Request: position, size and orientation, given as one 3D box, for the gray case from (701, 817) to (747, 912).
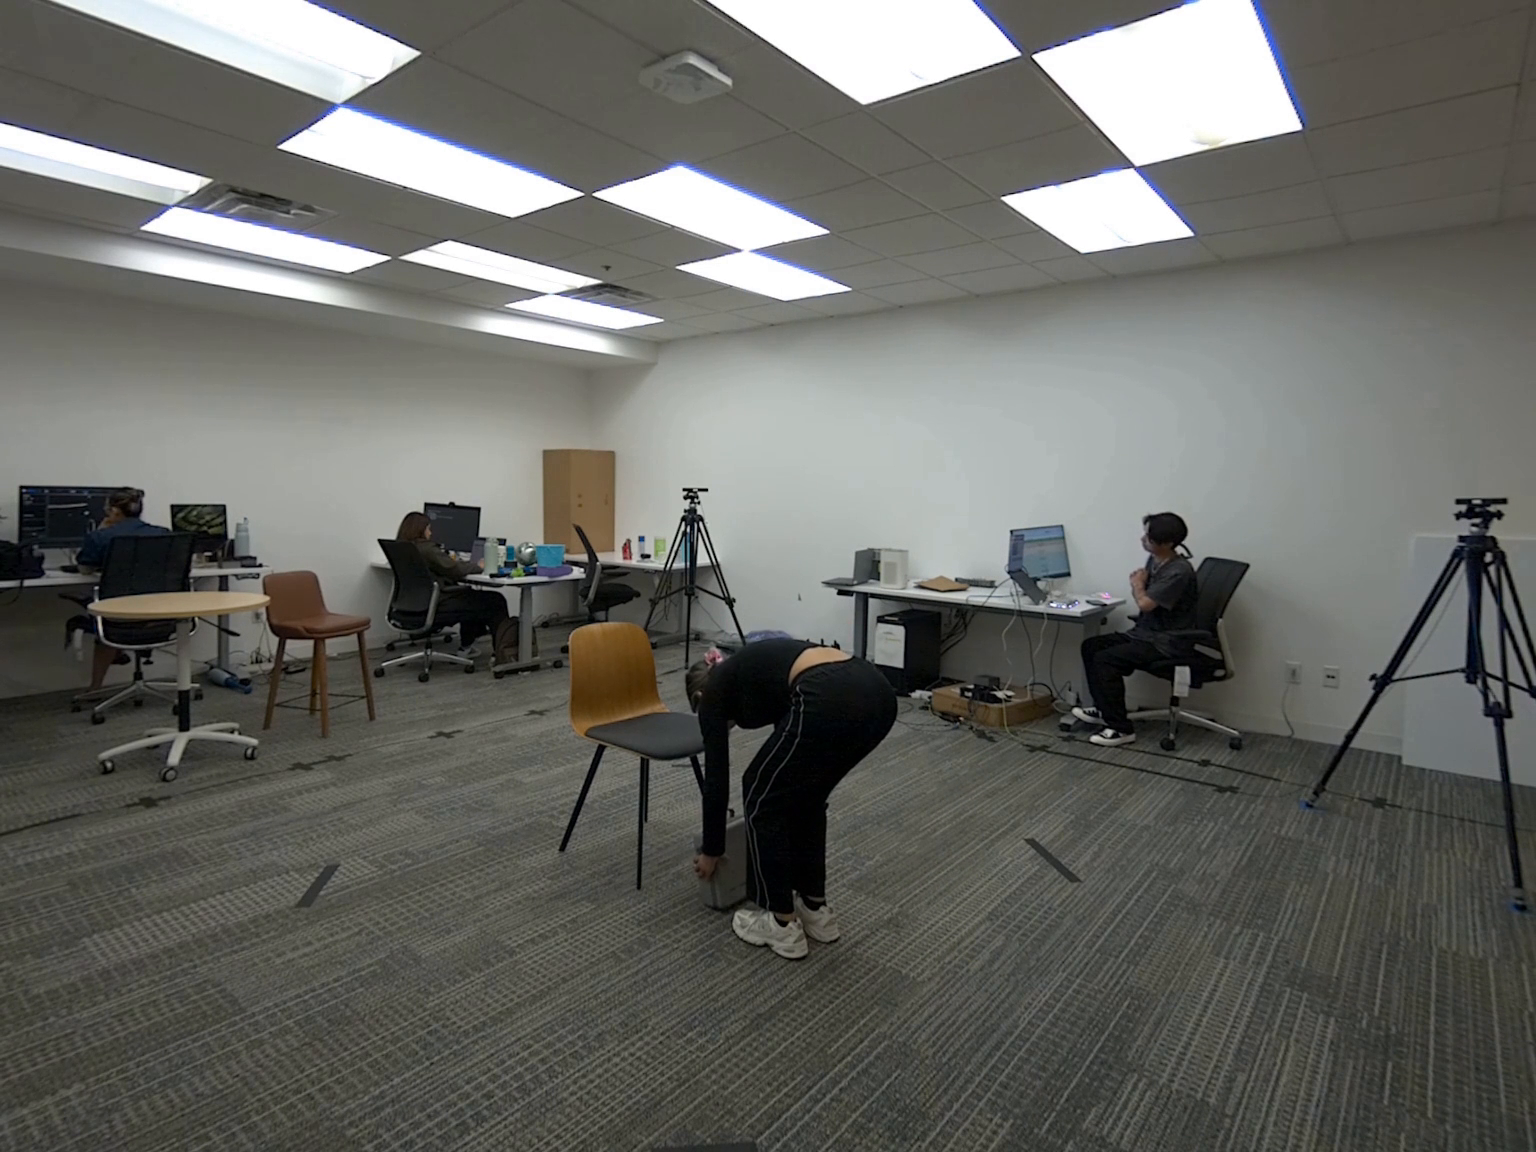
[{"bbox_3d":[-0.134,0.959,2.893,0.107,0.263,0.249,-14,-8,38],"label":"gray case"}]
